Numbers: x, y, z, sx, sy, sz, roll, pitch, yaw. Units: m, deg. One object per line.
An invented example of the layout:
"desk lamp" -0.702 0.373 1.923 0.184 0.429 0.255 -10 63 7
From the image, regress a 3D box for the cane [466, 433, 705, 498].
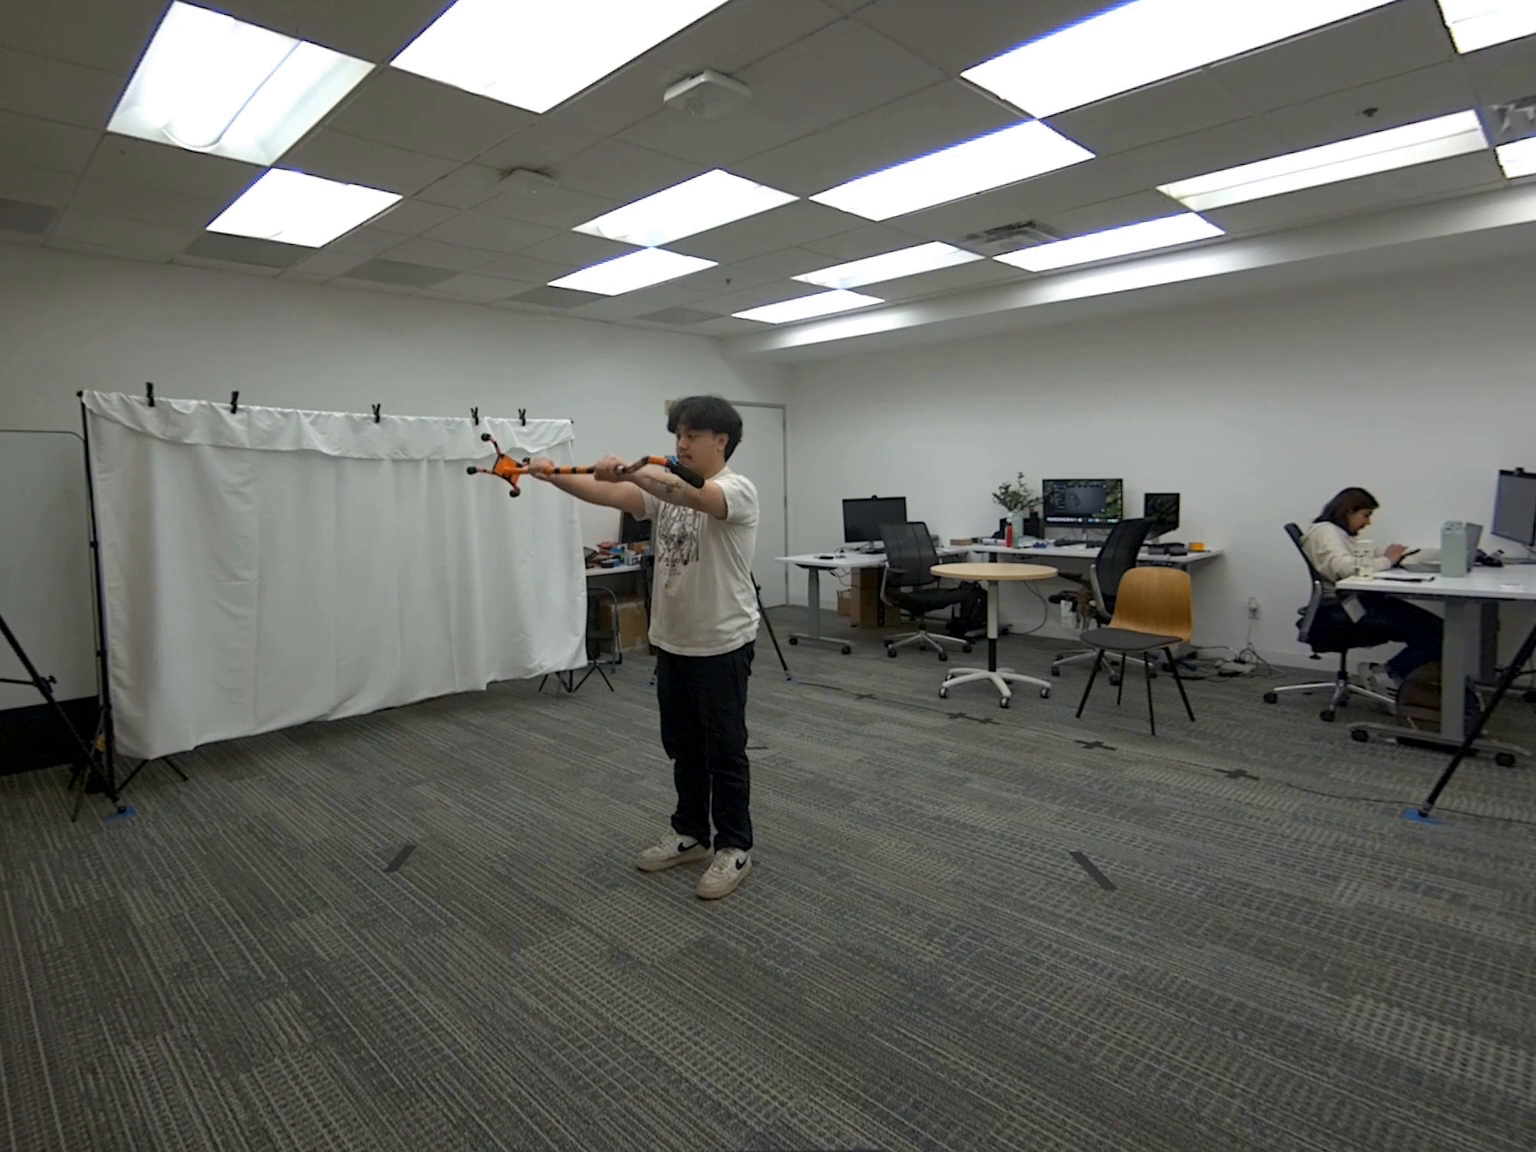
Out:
"cane" -0.561 -0.327 2.554 0.937 0.153 0.198 7 -18 42
